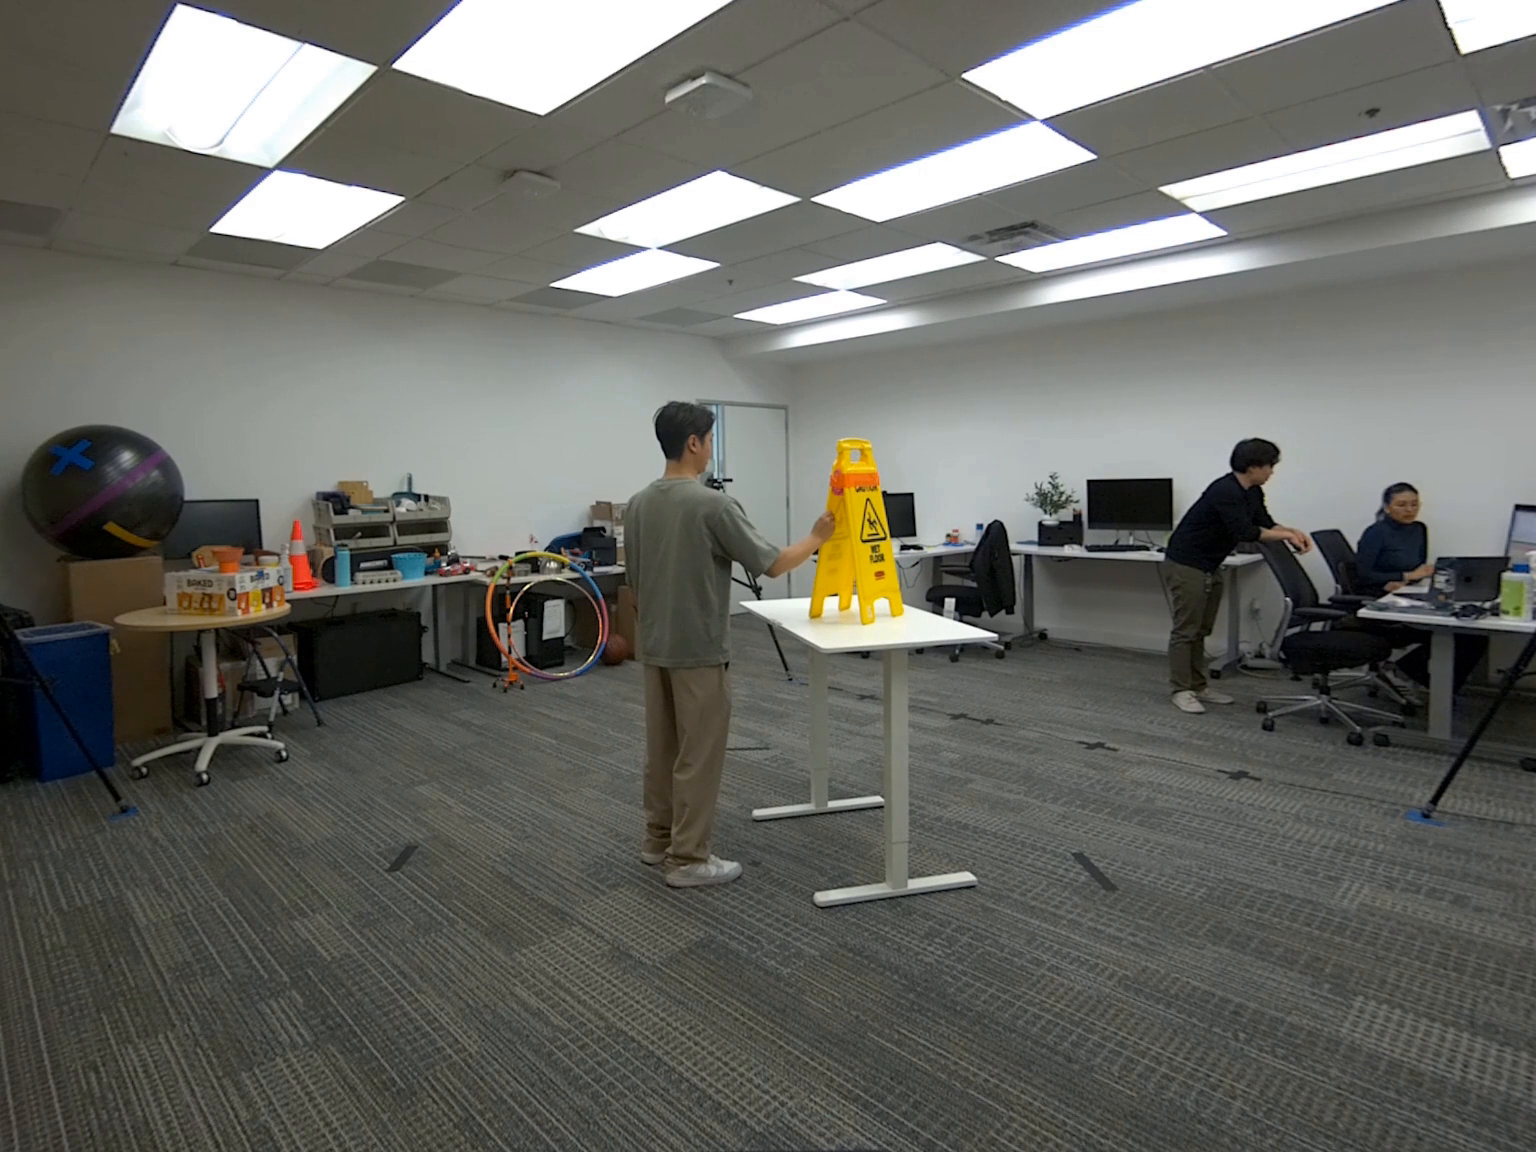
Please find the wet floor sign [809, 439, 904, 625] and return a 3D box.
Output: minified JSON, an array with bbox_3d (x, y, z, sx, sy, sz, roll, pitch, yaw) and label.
[{"bbox_3d":[0.326,-0.175,3.132,0.298,0.643,0.275,2,6,38],"label":"wet floor sign"}]
